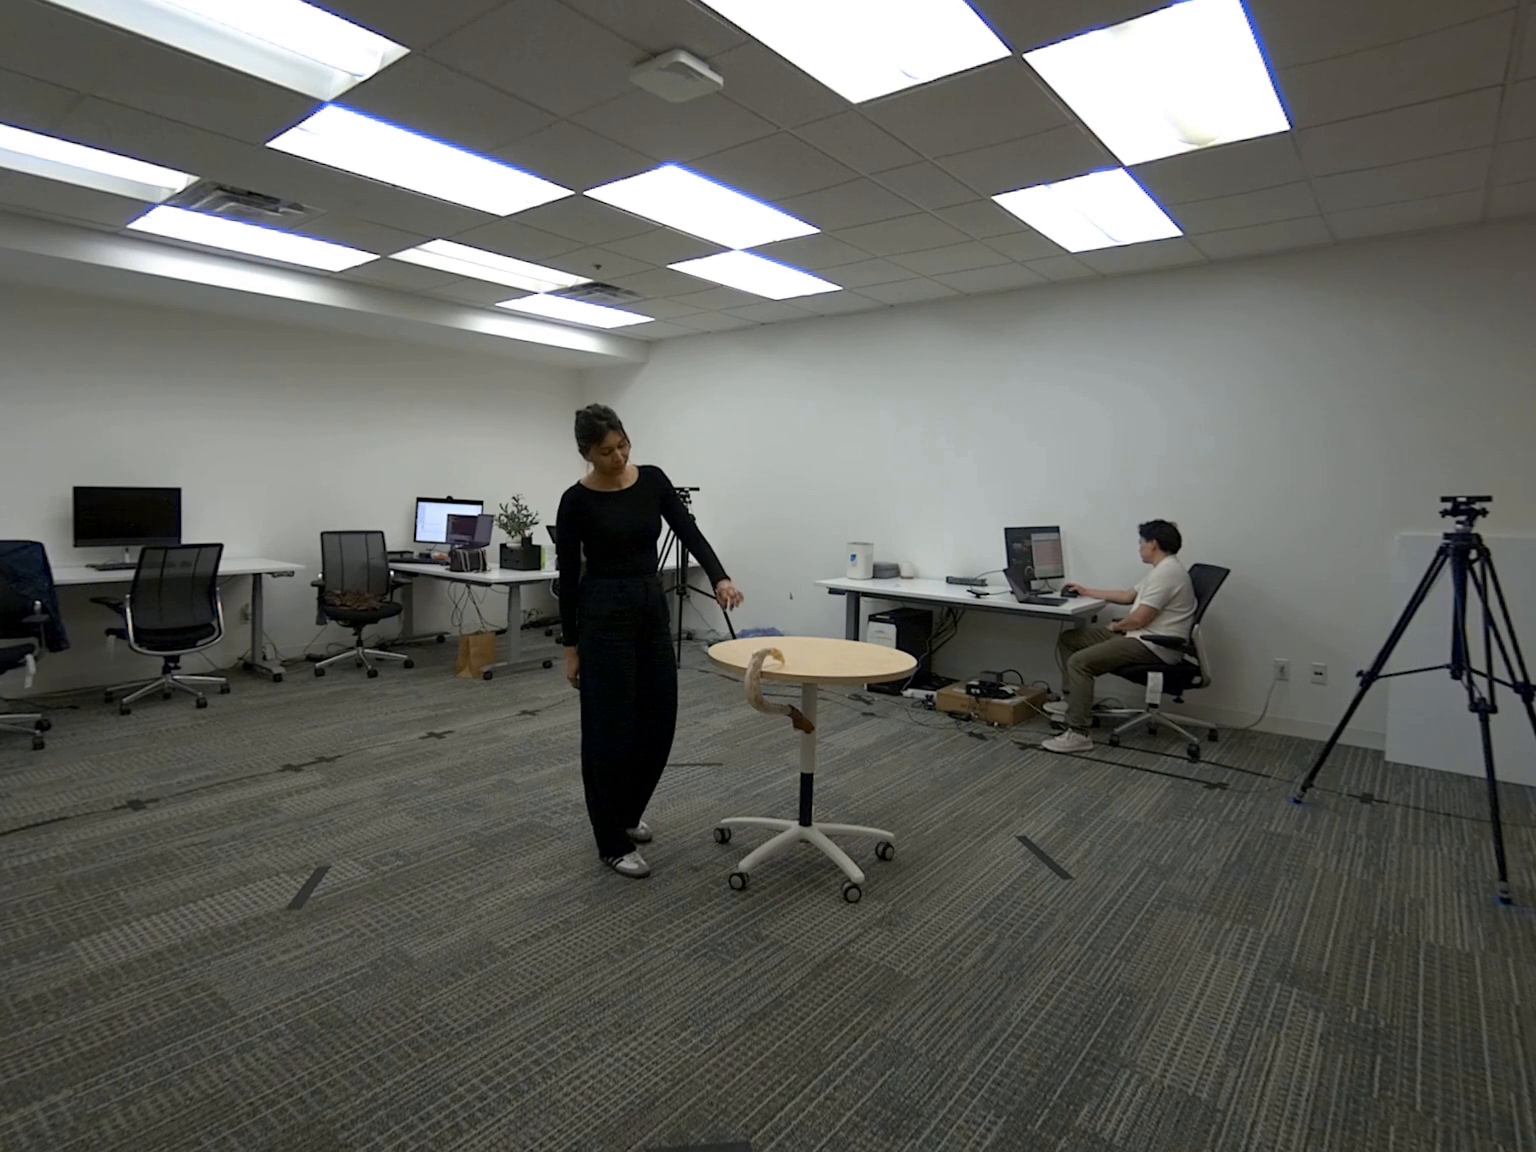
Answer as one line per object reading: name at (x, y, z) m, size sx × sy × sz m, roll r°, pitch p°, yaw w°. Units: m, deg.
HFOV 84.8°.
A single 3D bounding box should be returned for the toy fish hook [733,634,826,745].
toy fish hook at (0.050, 0.407, 2.955) m, size 0.050 × 0.227 × 0.485 m, roll 5°, pitch -24°, yaw 32°
